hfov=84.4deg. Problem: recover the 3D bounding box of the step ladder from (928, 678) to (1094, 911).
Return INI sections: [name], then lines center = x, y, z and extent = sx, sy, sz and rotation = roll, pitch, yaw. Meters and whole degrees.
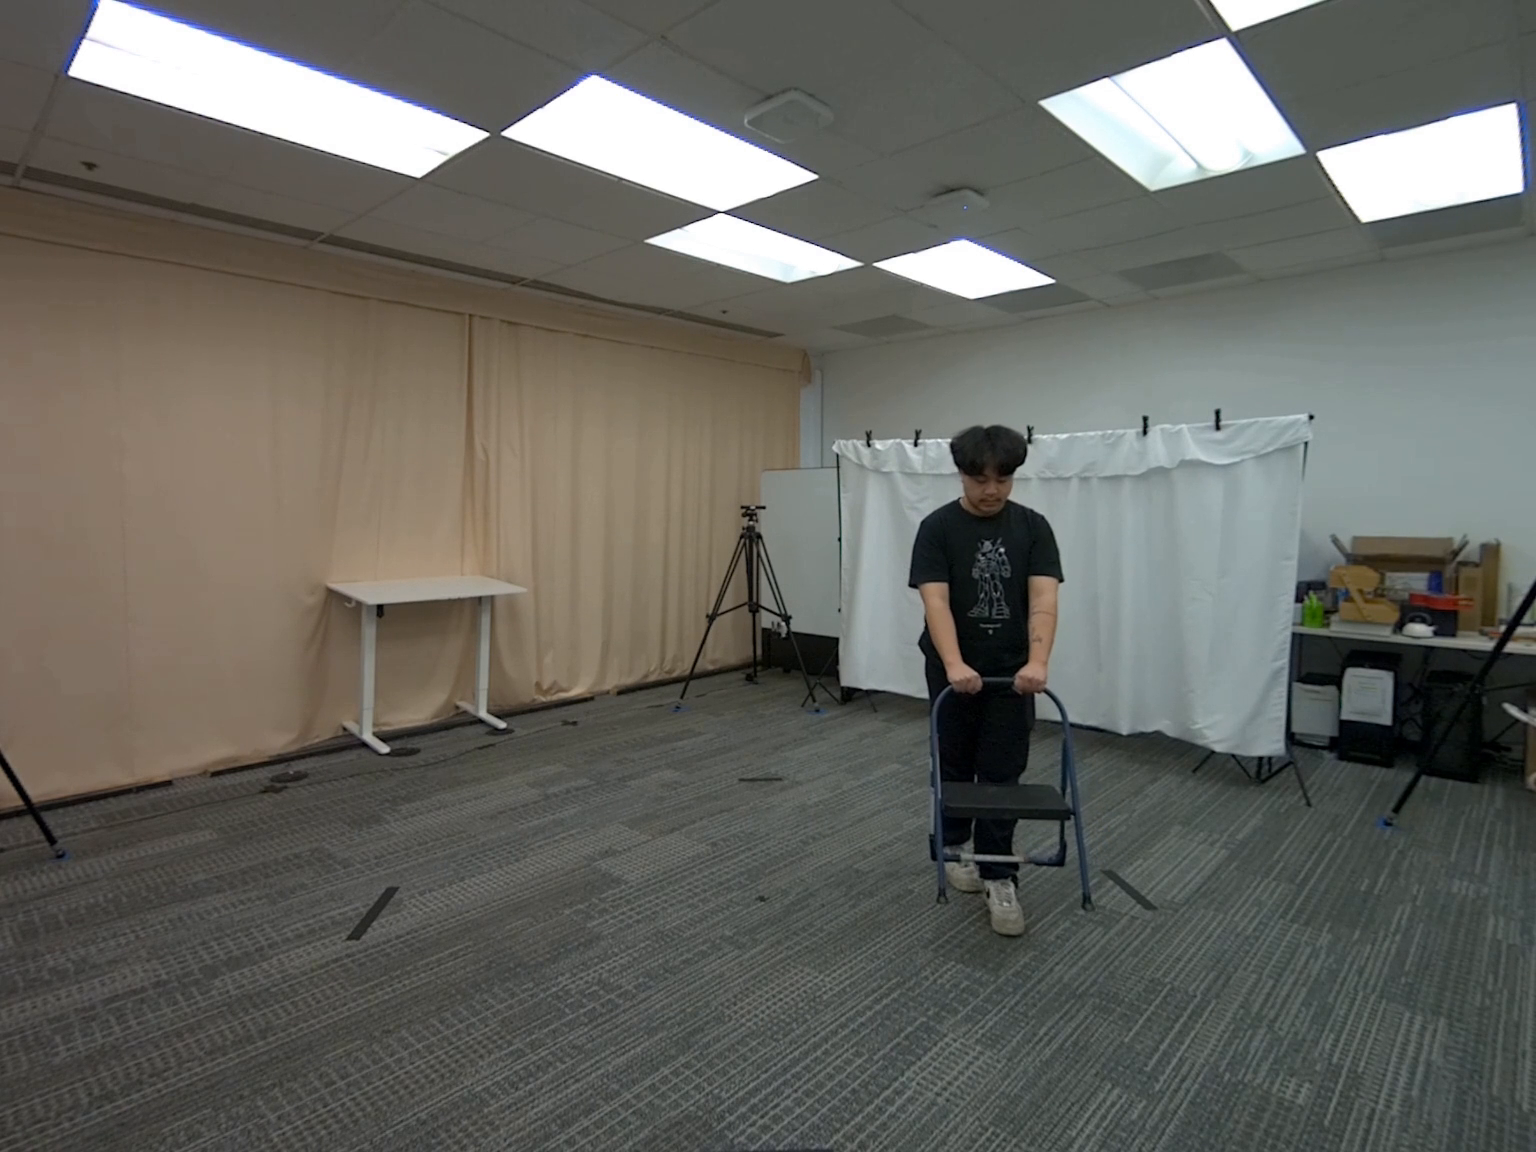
[step ladder]
center = 0.725, 0.637, 2.539
extent = 0.435, 0.606, 0.346
rotation = -1, 0, 8
